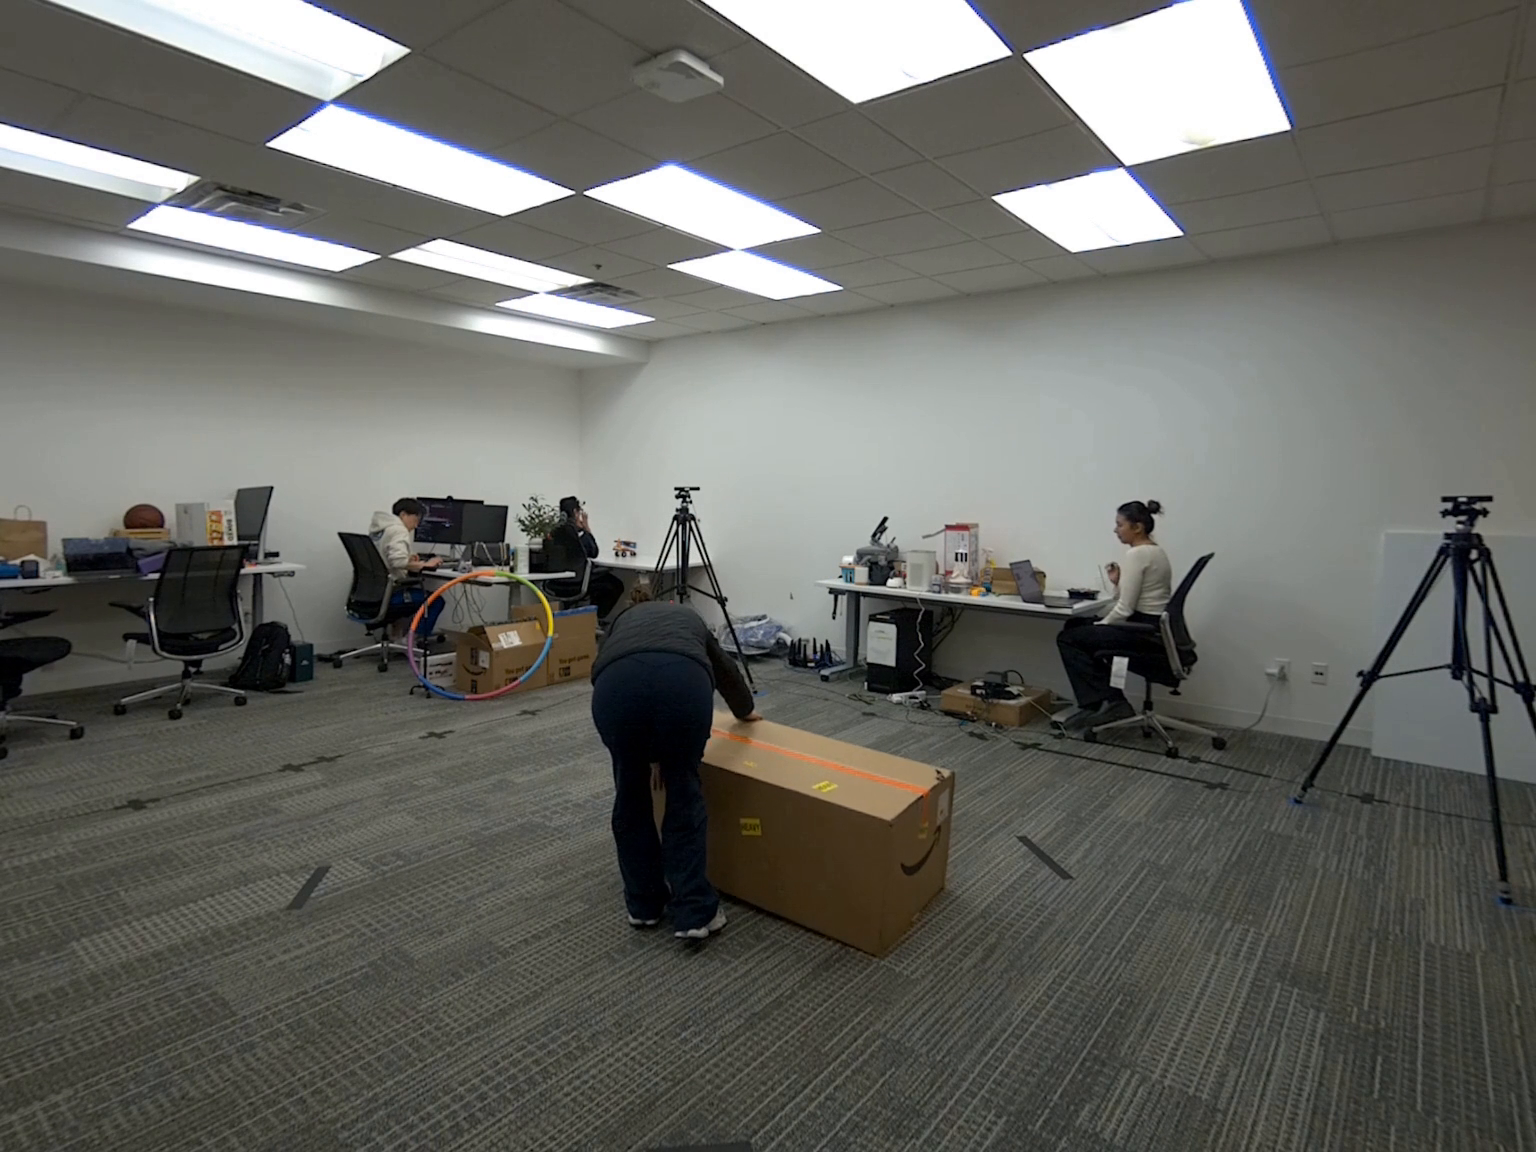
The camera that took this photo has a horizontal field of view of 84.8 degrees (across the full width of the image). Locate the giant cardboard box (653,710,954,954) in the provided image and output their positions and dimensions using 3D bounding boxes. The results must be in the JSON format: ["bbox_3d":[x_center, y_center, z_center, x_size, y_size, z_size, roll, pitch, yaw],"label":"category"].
[{"bbox_3d":[0.078,0.823,3.044,1.060,0.424,0.562,9,9,34],"label":"giant cardboard box"}]
